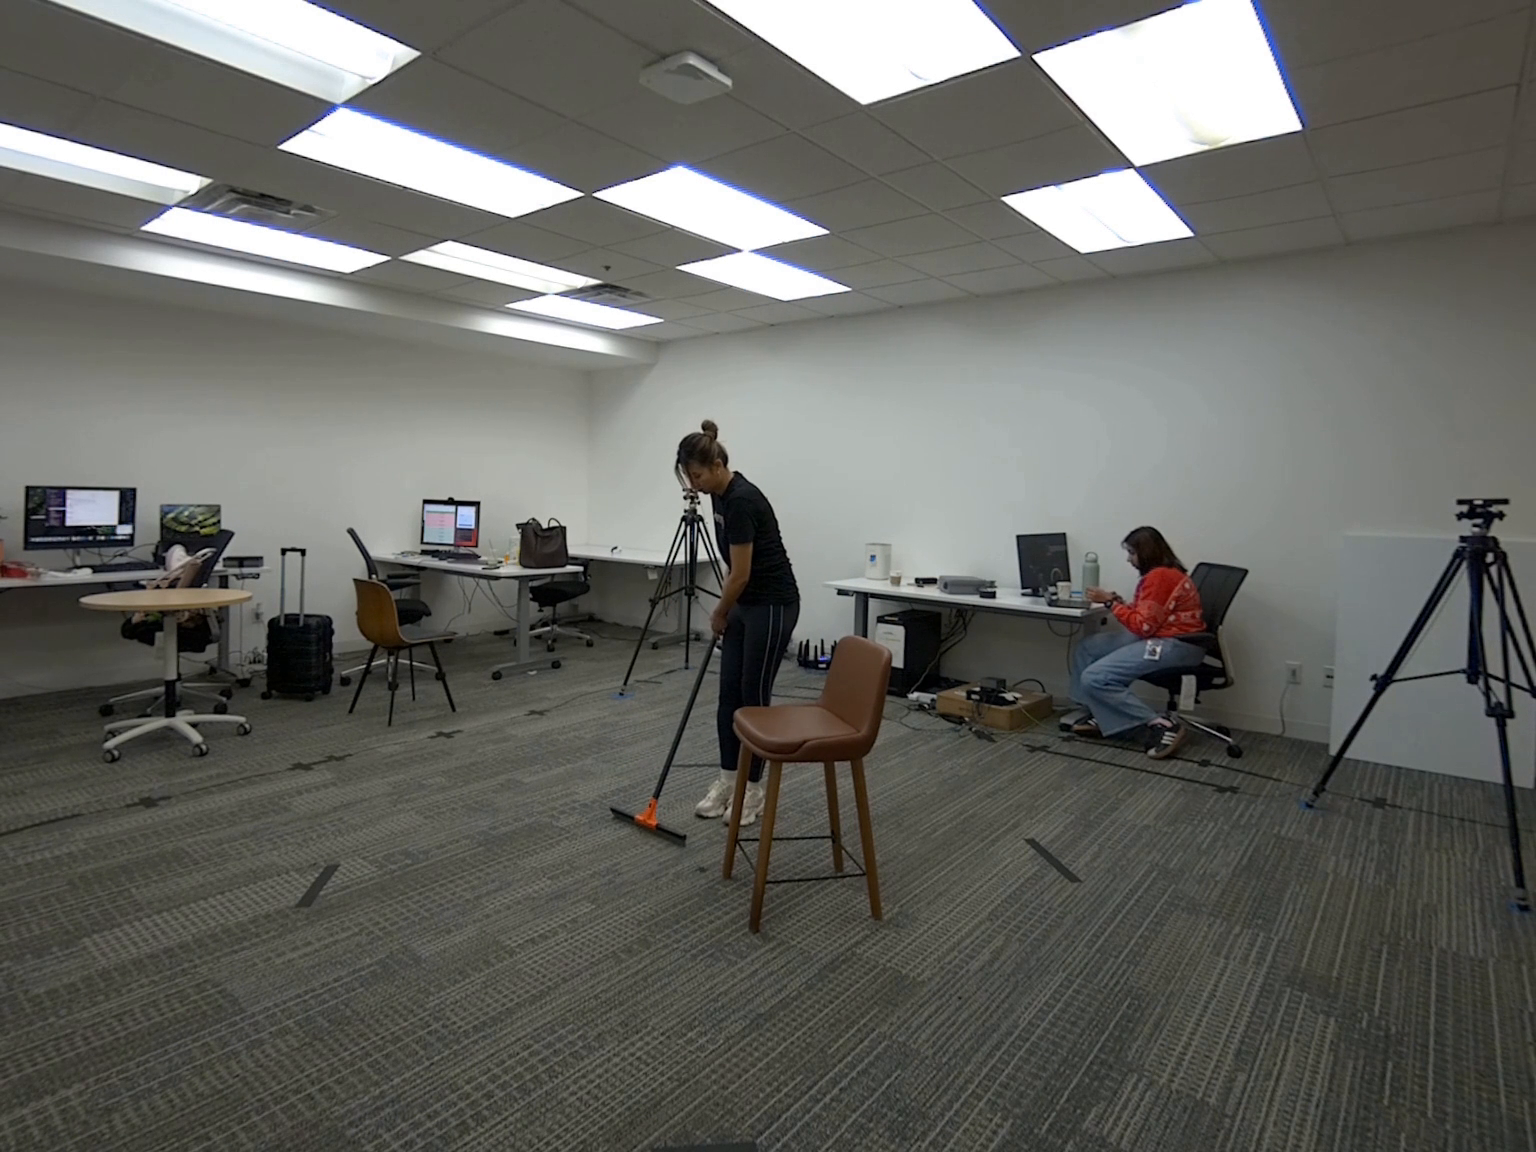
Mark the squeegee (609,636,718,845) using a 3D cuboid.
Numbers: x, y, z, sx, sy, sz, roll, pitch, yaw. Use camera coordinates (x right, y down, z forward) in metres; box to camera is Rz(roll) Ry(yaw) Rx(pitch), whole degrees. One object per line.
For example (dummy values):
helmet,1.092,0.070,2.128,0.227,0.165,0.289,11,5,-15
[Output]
squeegee,-0.283,0.320,3.687,0.452,1.554,0.051,4,-26,35
